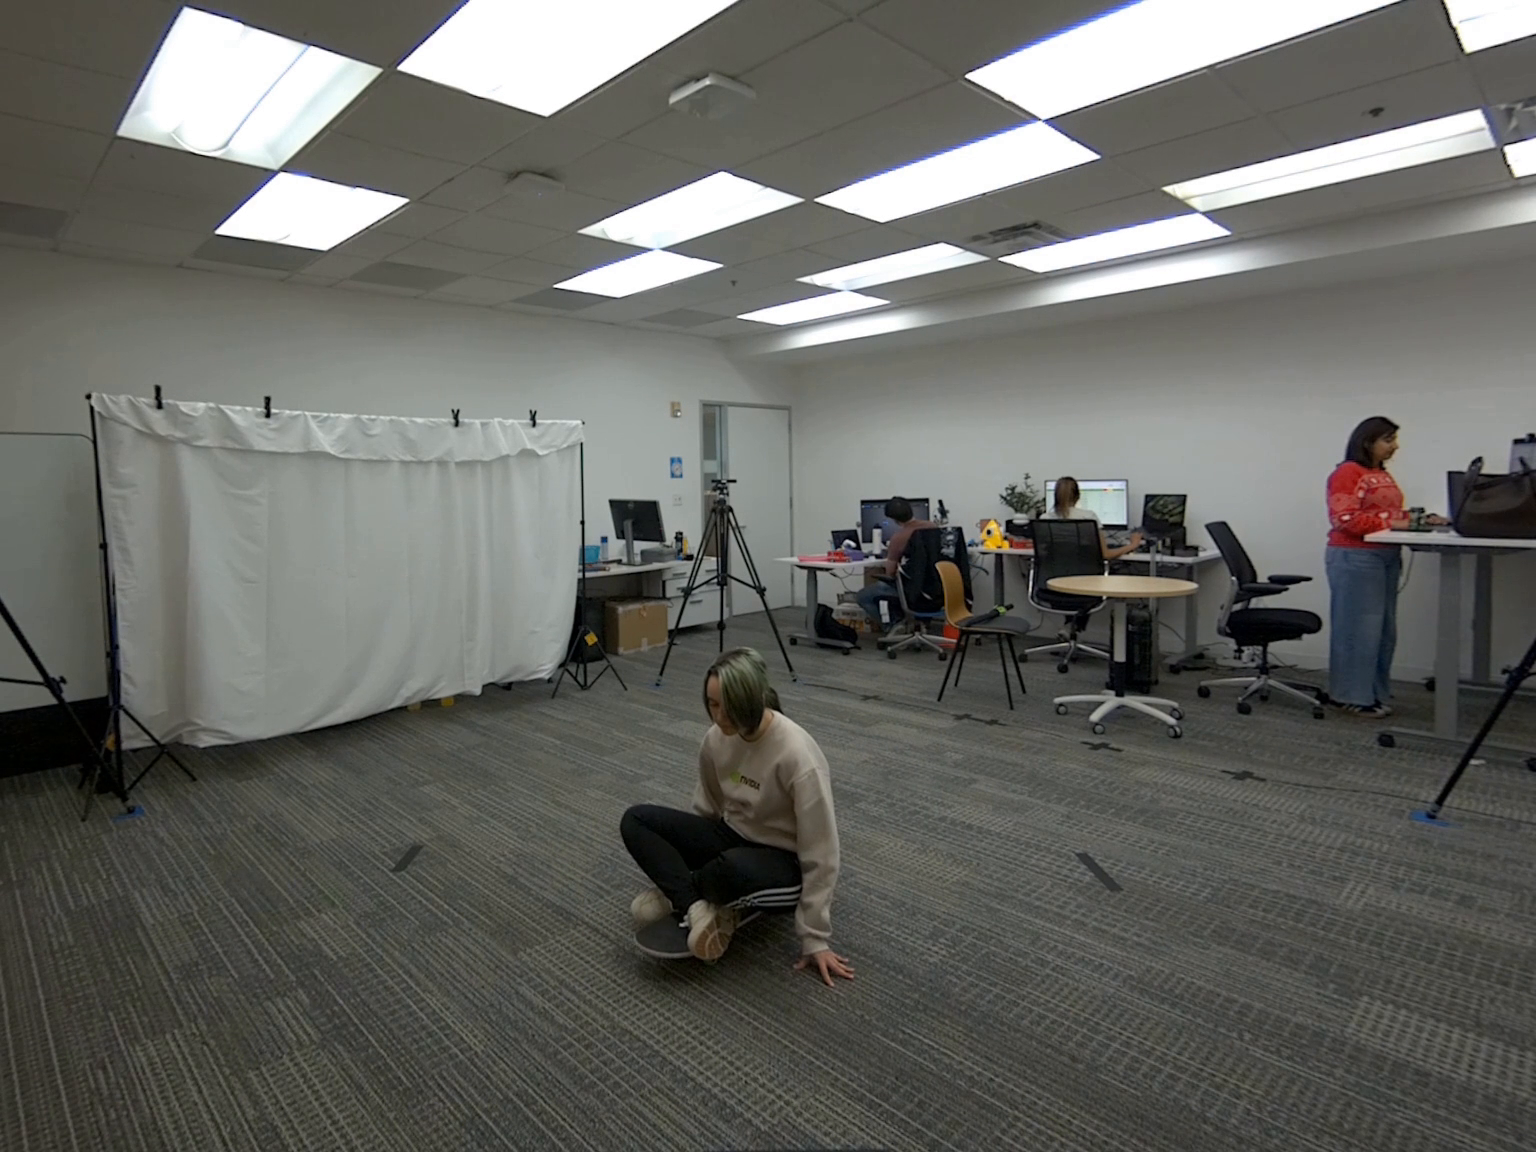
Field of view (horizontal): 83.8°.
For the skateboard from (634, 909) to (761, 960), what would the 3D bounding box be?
[{"bbox_3d":[-0.090,1.047,2.656,0.199,0.110,0.766,5,9,35],"label":"skateboard"}]
